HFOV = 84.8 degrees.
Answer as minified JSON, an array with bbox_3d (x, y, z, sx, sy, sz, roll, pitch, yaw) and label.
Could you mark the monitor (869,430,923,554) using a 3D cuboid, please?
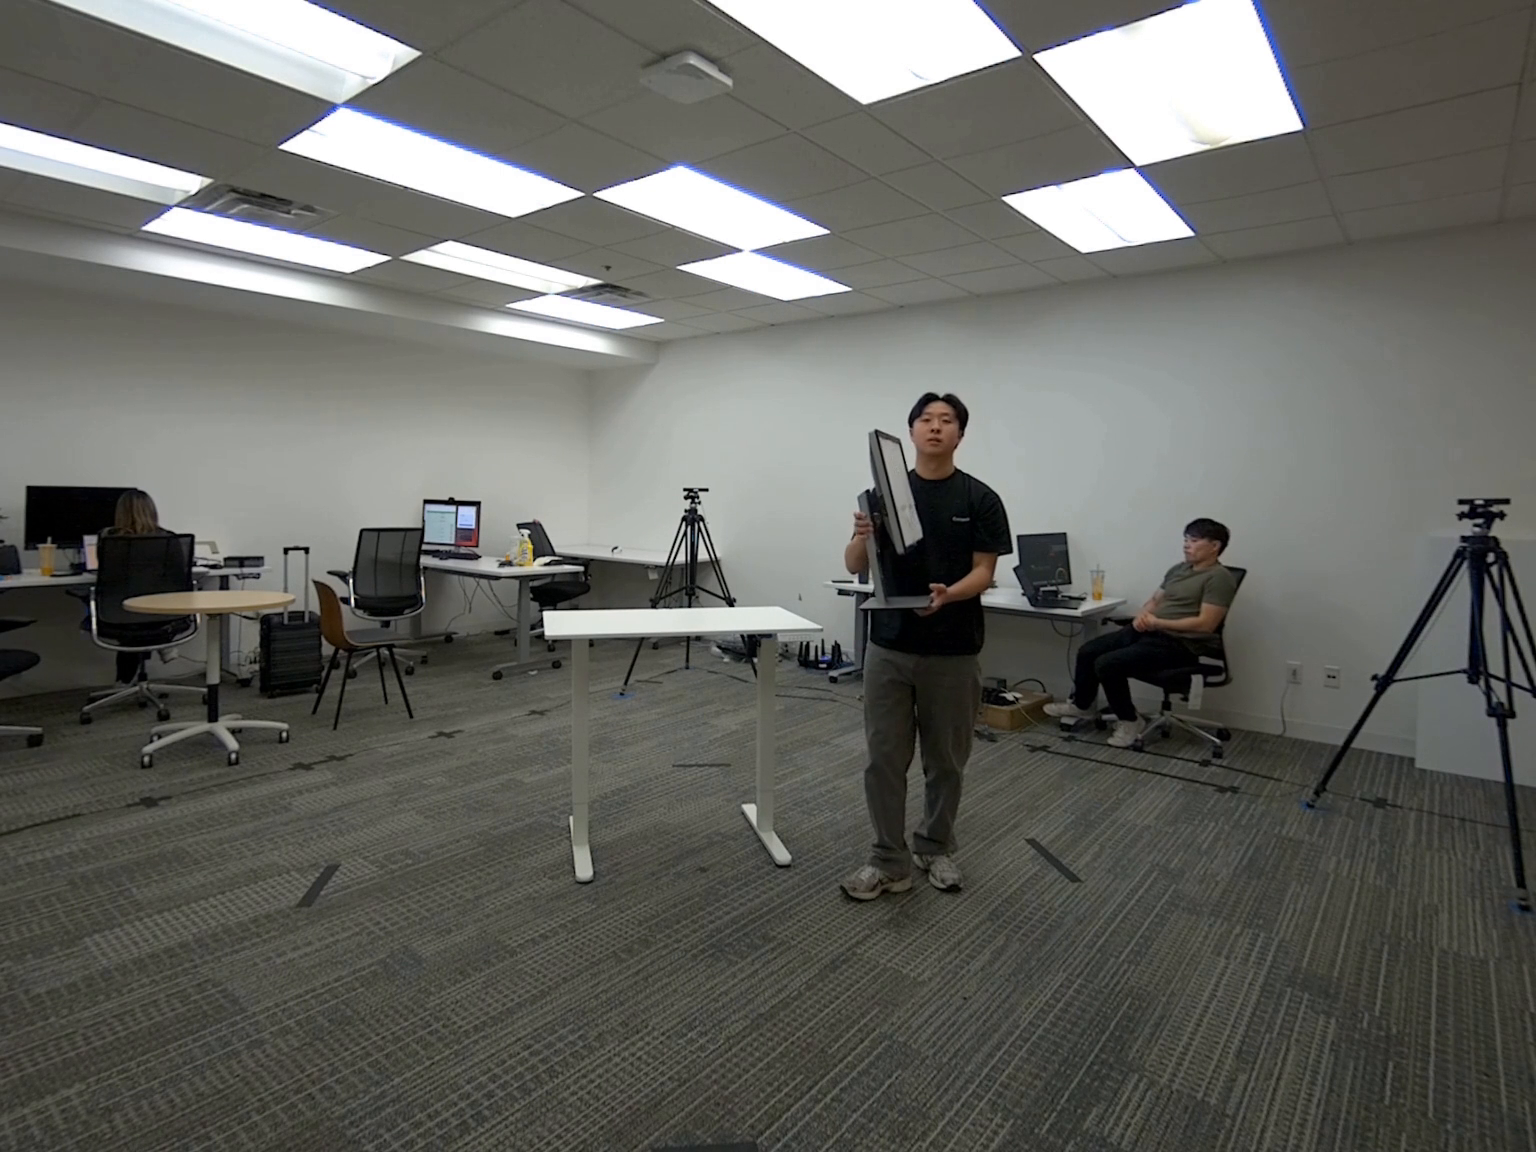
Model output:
[{"bbox_3d":[0.376,-0.165,2.679,0.227,0.563,0.553,2,6,19],"label":"monitor"}]
